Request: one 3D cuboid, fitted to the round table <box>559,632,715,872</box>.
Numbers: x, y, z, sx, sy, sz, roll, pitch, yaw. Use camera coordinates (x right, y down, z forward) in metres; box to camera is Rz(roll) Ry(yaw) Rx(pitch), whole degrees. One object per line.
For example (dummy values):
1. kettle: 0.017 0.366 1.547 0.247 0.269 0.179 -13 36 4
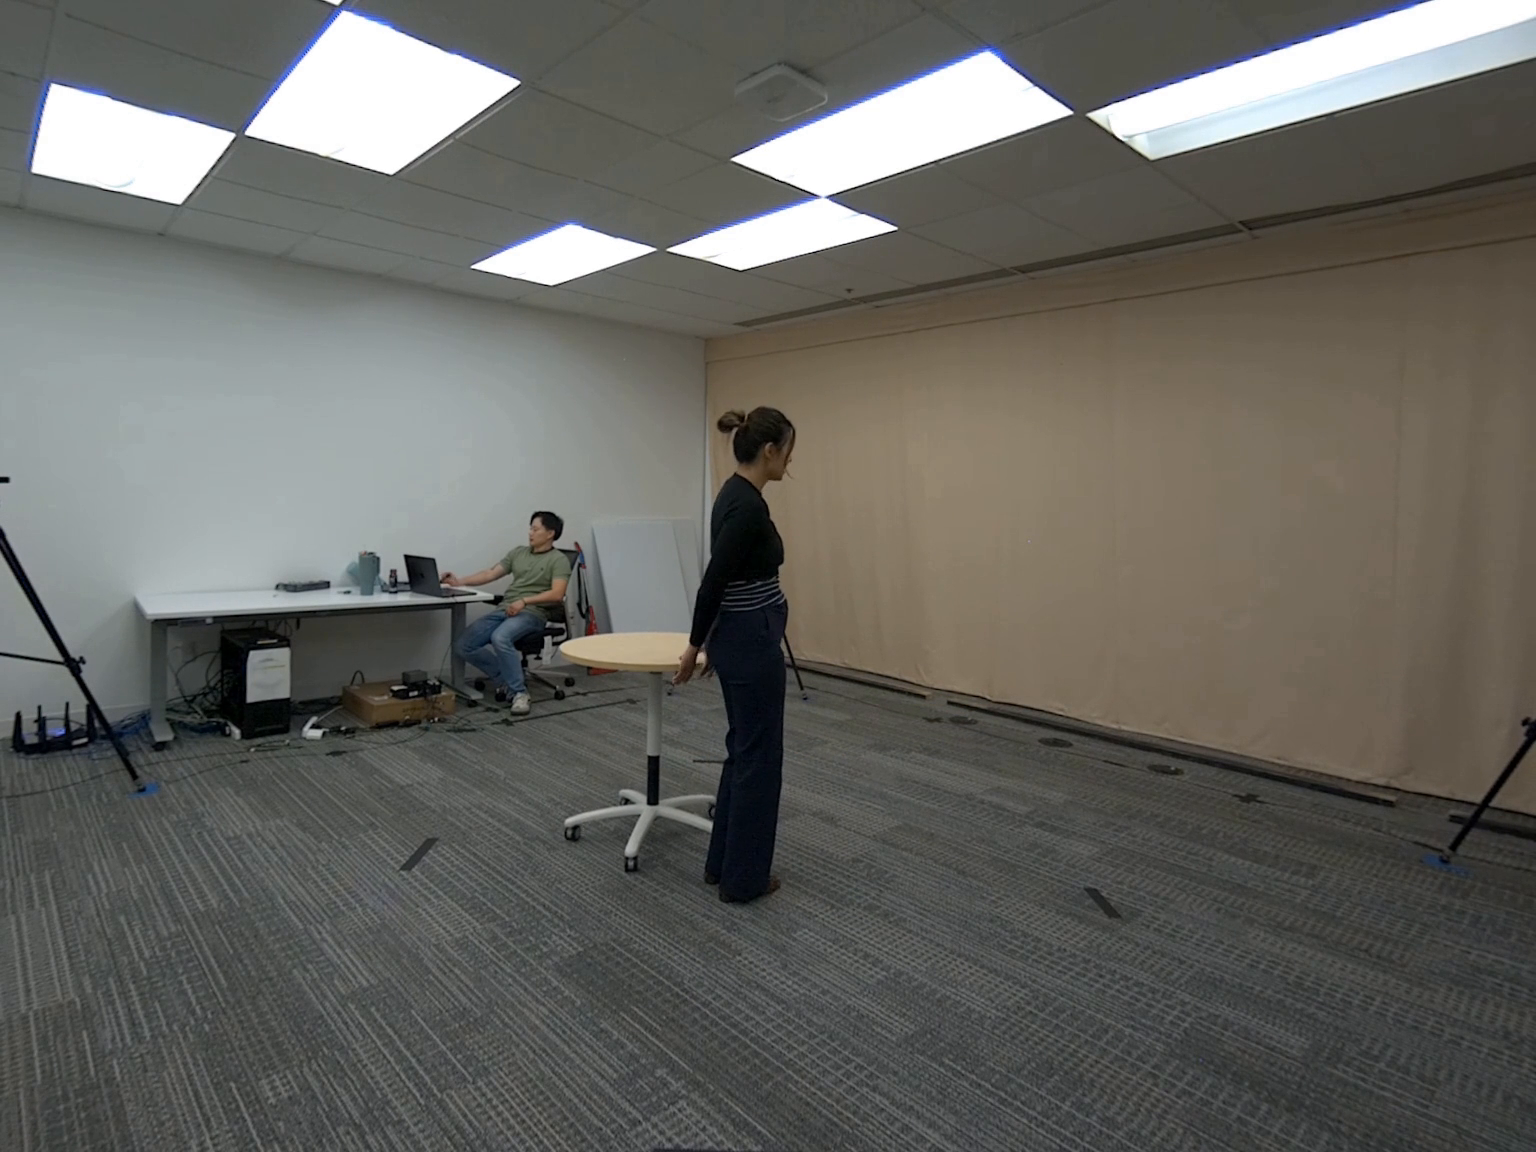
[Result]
1. round table: -0.470 0.679 3.412 0.763 0.792 0.766 1 4 -1
